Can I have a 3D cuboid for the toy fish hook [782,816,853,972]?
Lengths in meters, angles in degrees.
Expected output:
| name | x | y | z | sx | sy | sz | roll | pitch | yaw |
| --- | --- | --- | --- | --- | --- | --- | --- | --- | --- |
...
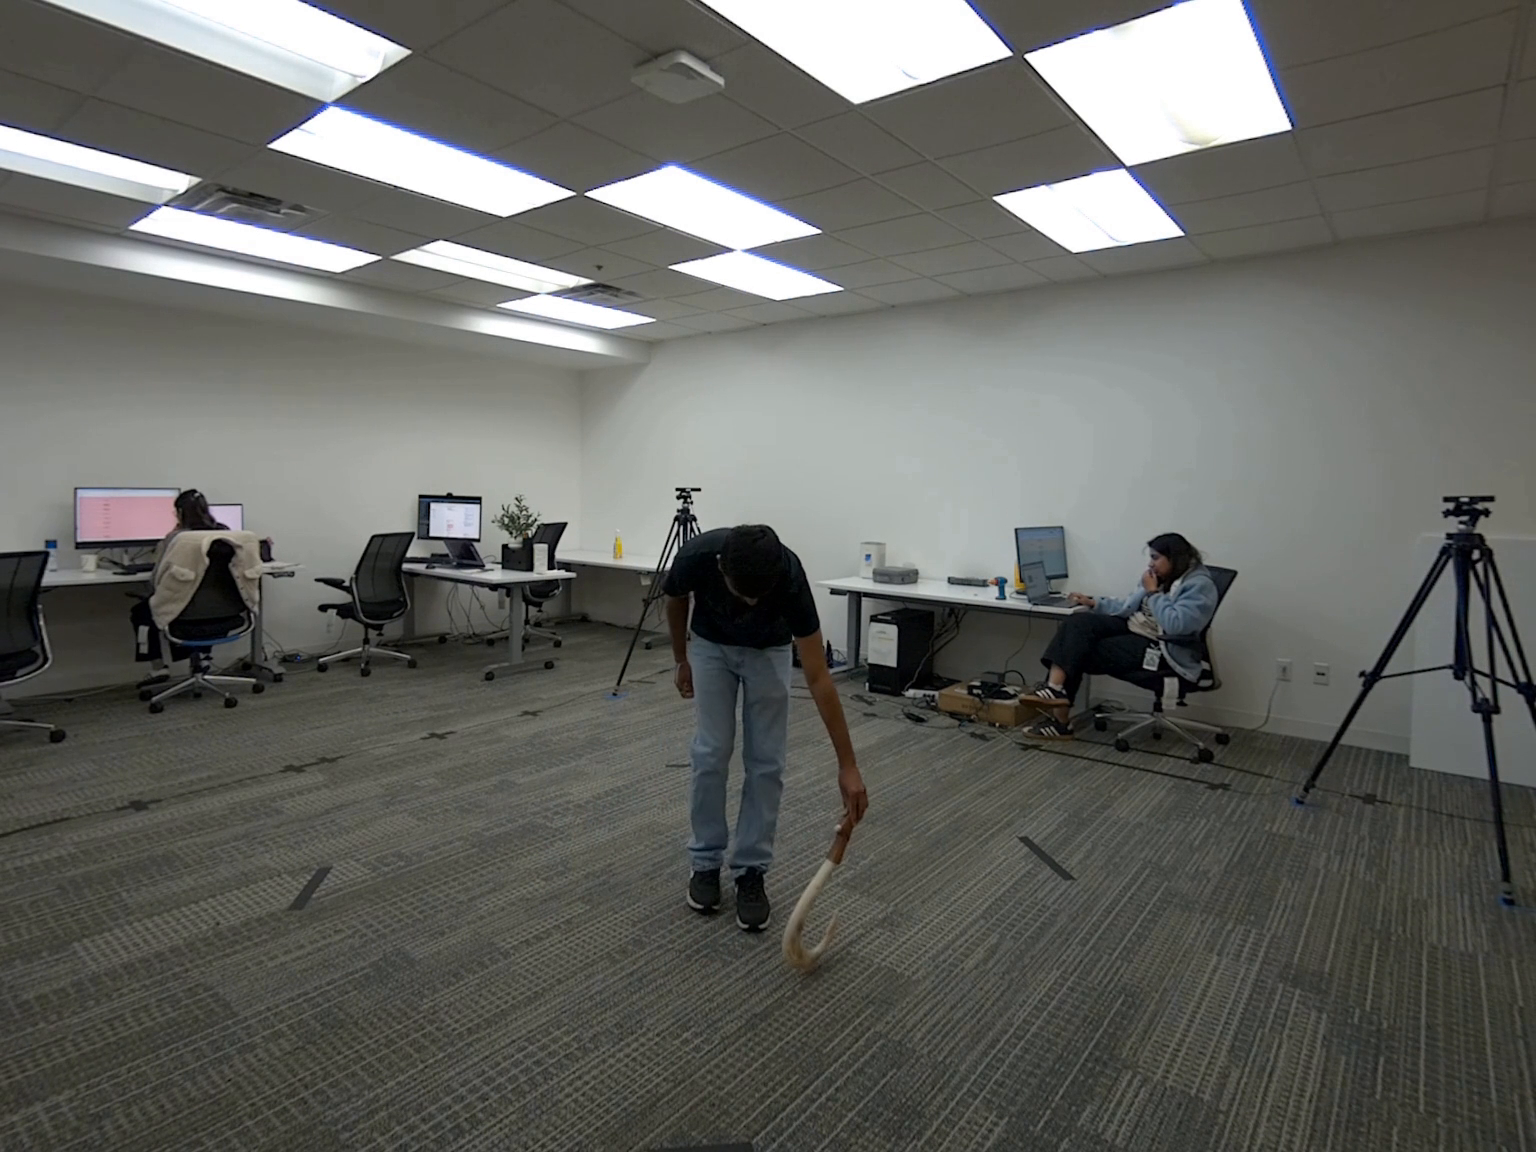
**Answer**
| name | x | y | z | sx | sy | sz | roll | pitch | yaw |
| --- | --- | --- | --- | --- | --- | --- | --- | --- | --- |
| toy fish hook | 0.180 | 0.902 | 2.506 | 0.050 | 0.510 | 0.215 | 9 | -25 | 43 |
